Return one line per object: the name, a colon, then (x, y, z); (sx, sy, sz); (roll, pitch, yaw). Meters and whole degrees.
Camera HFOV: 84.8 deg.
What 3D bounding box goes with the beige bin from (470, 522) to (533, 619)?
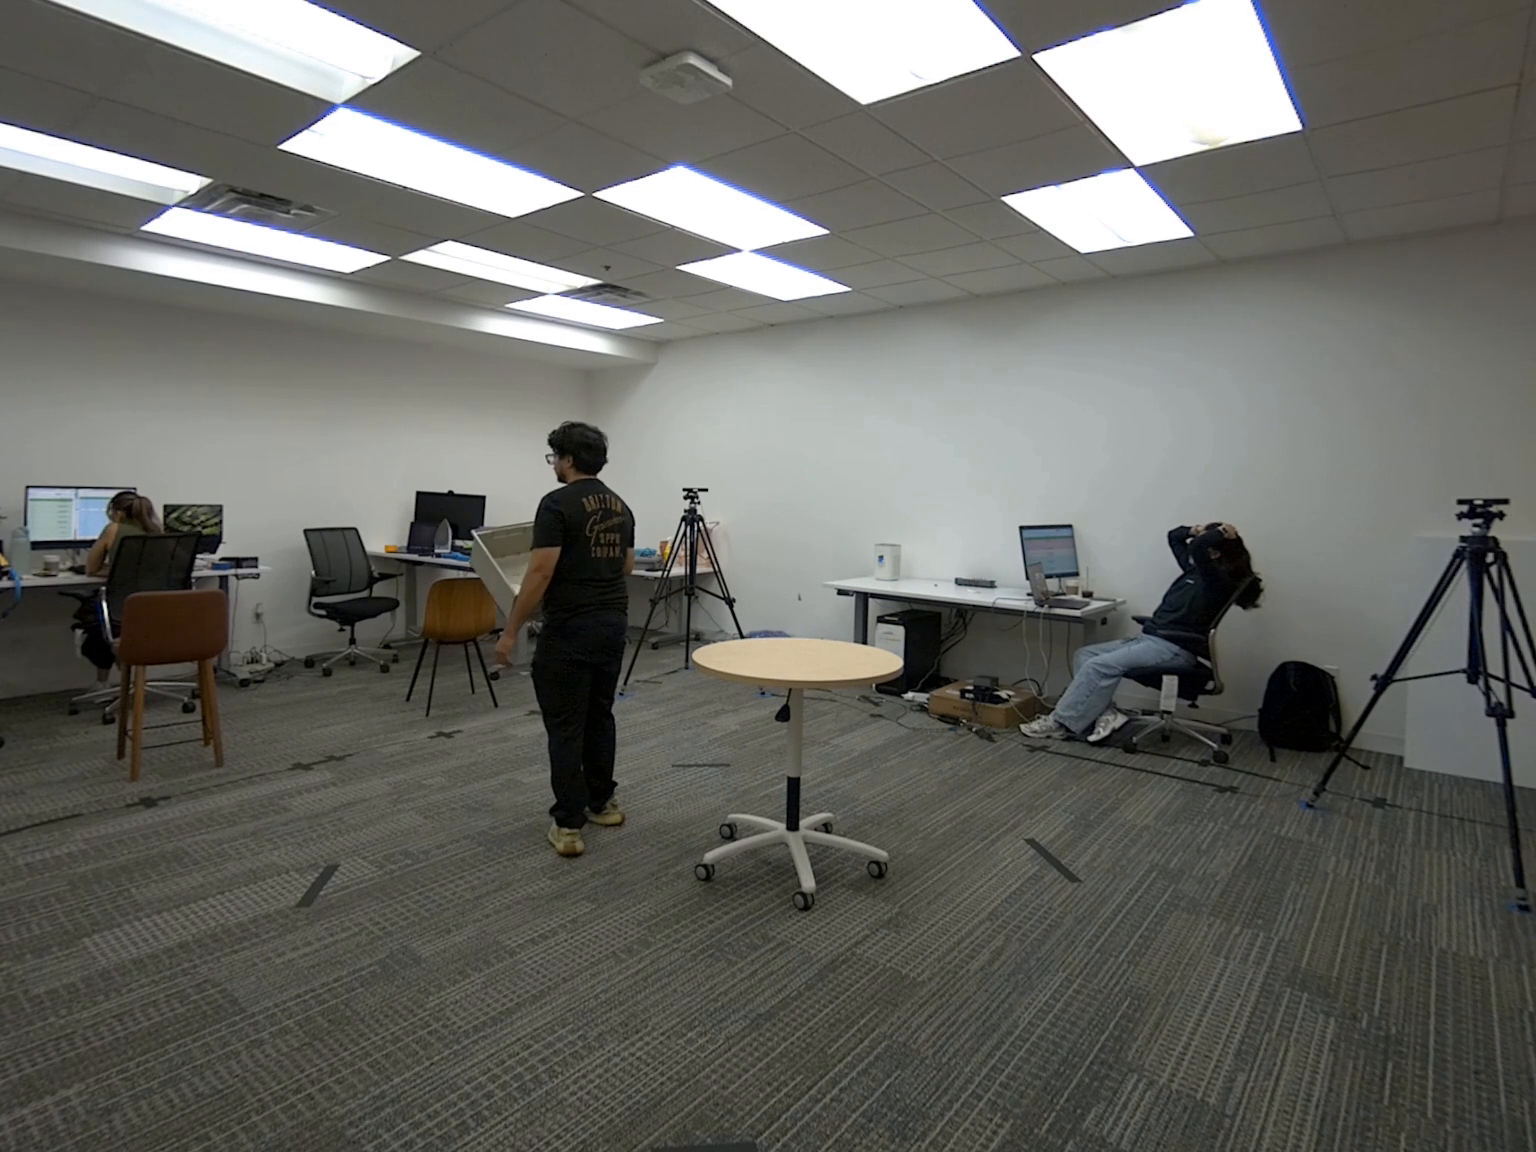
beige bin: (-1.042, -0.029, 3.675); (0.368, 0.186, 0.439); (-15, 49, -40)
